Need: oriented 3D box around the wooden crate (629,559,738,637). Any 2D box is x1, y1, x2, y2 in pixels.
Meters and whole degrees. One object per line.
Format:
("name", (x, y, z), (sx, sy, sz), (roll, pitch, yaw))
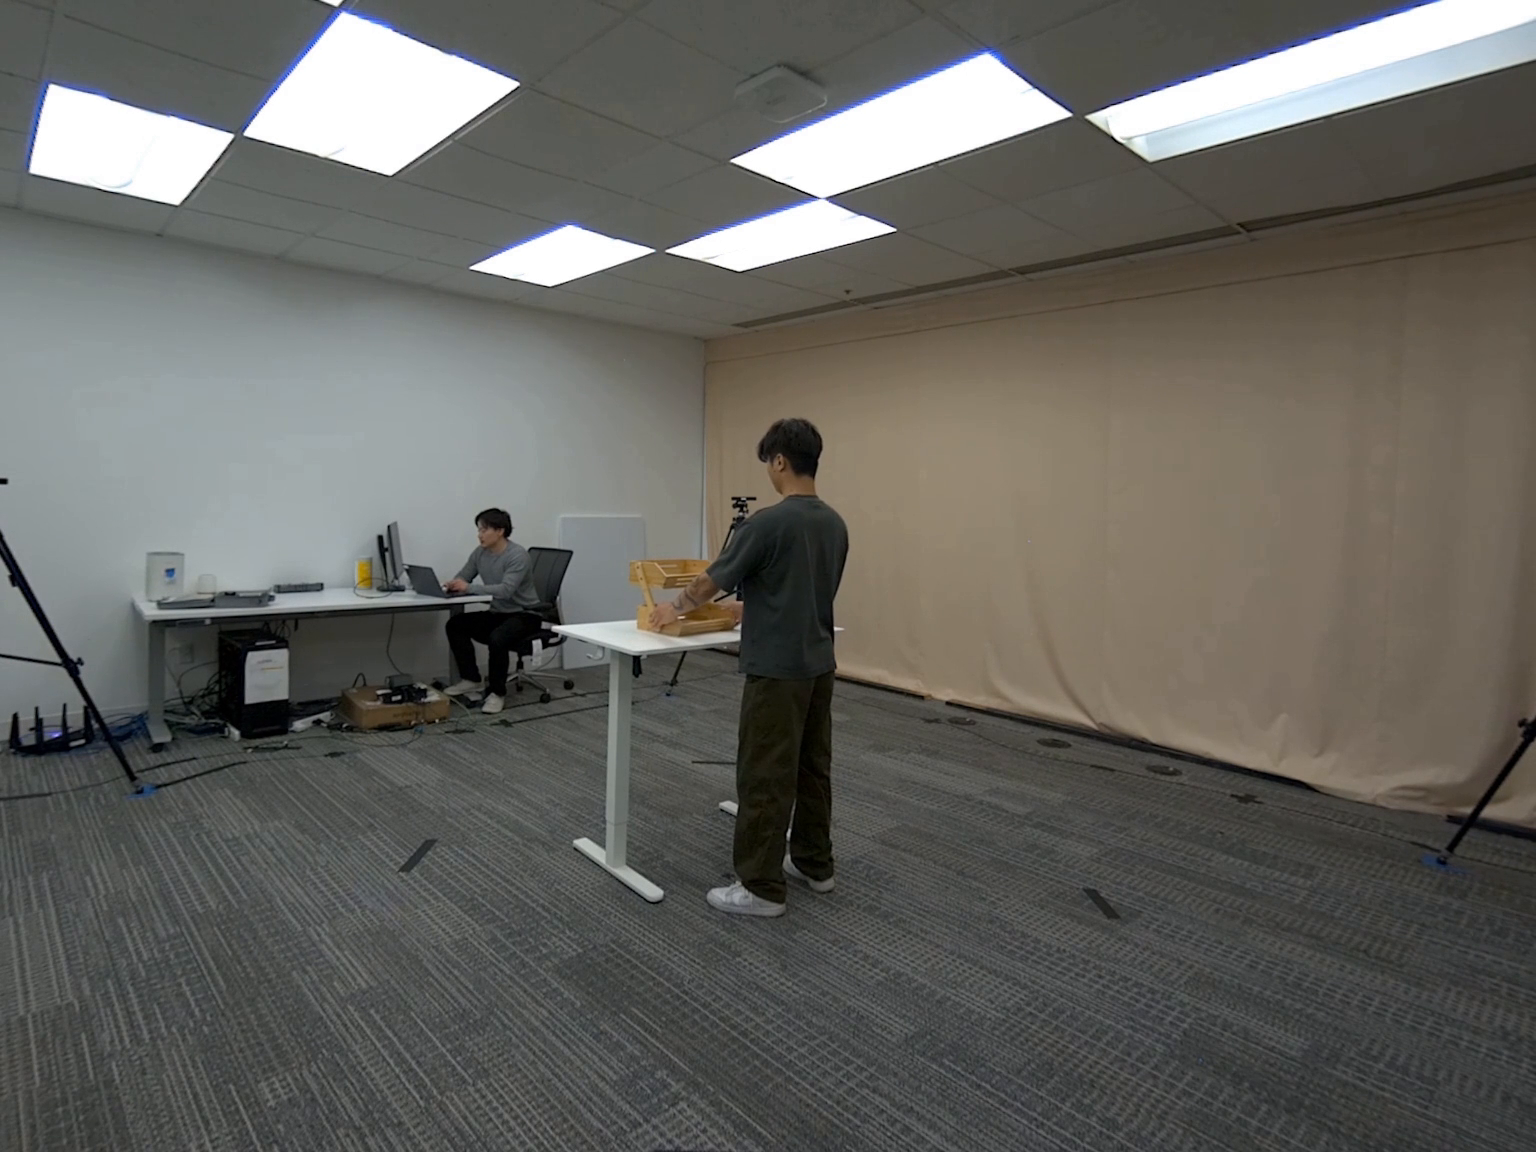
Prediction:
("wooden crate", (-0.335, 0.073, 3.262), (0.310, 0.273, 0.317), (5, 5, 41))
